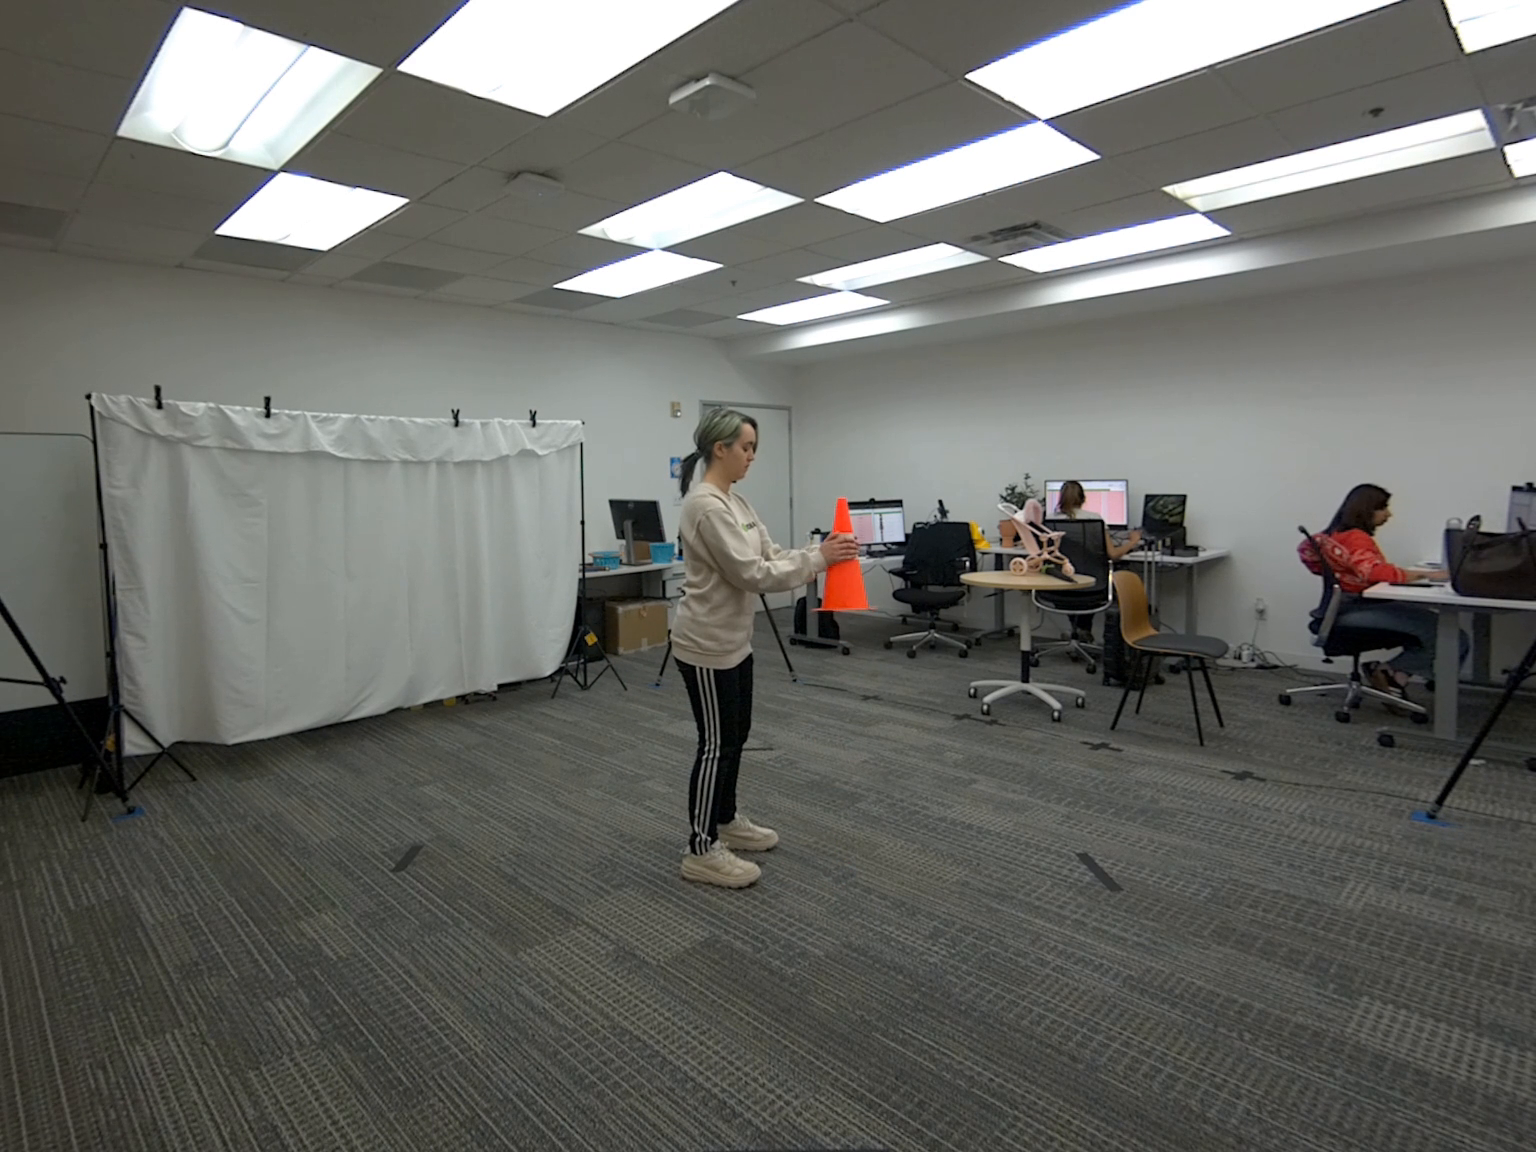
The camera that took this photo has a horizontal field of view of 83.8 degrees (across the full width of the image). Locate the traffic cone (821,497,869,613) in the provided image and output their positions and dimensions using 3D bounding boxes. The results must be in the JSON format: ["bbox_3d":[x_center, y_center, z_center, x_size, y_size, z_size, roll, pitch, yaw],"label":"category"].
[{"bbox_3d":[0.253,-0.069,2.920,0.208,0.384,0.200,-2,-1,30],"label":"traffic cone"}]
